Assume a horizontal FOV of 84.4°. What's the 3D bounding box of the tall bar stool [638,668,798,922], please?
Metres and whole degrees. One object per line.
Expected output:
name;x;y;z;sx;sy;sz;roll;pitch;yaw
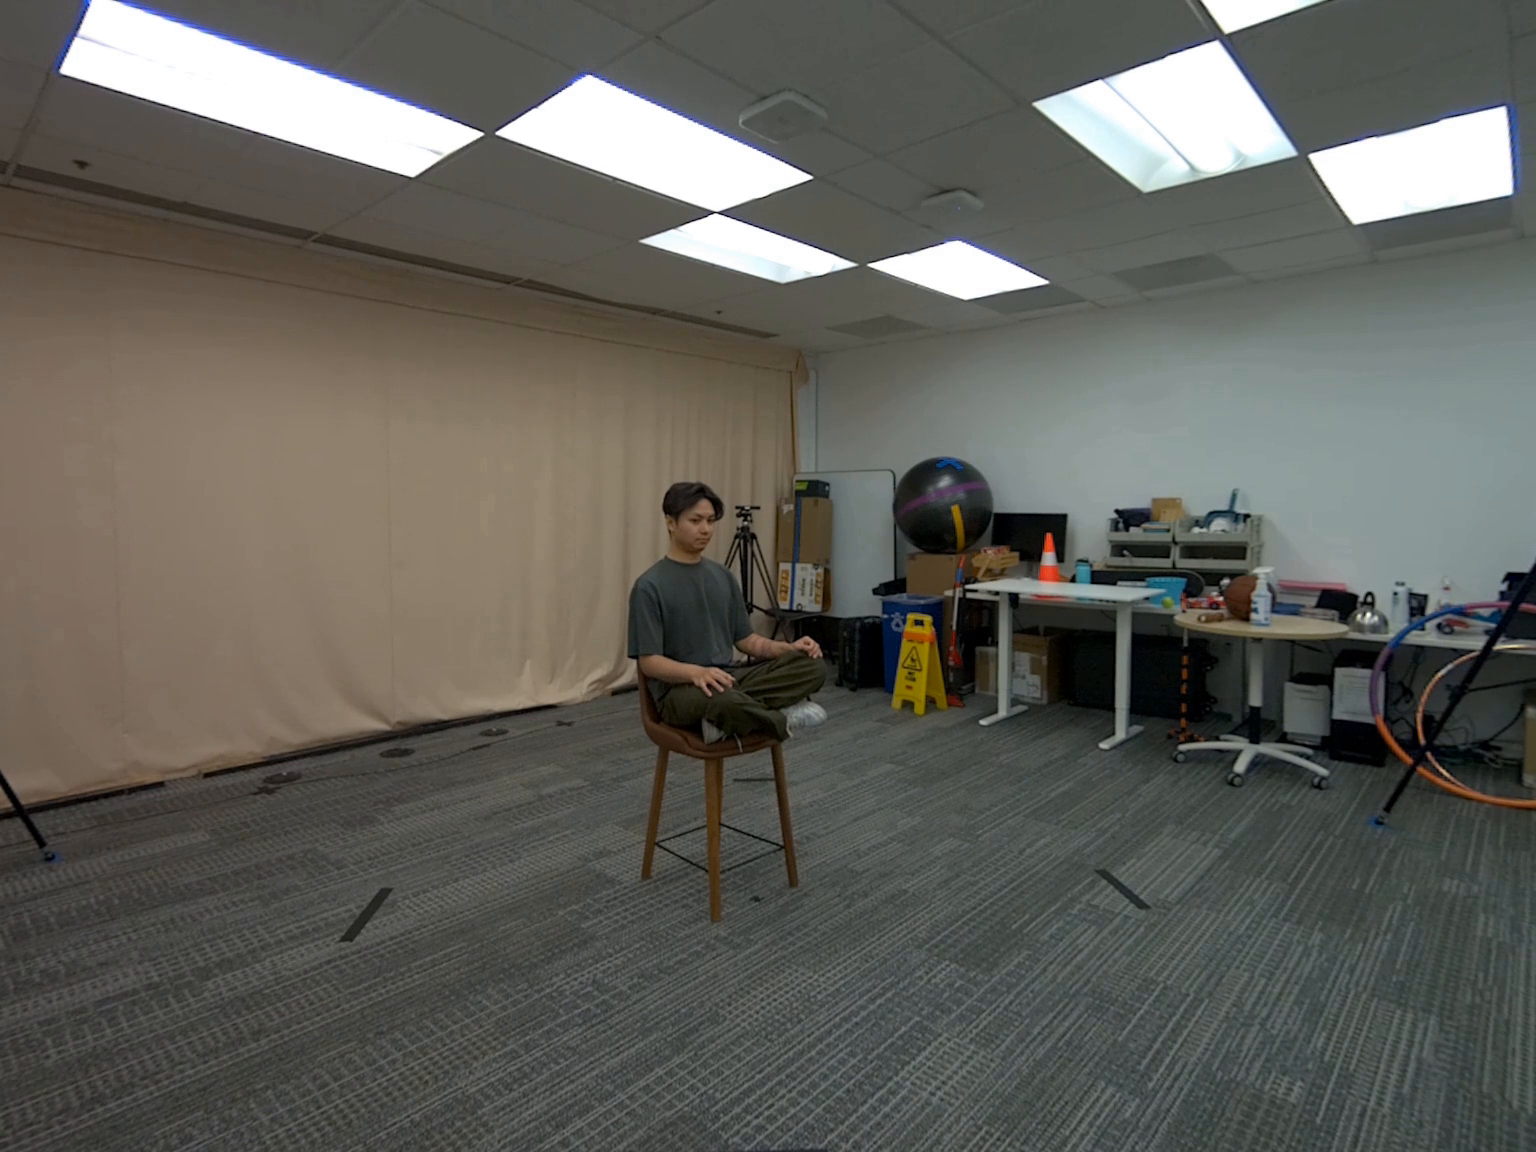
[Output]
tall bar stool;-0.196;0.700;3.102;0.442;0.889;0.482;-4;2;-43
